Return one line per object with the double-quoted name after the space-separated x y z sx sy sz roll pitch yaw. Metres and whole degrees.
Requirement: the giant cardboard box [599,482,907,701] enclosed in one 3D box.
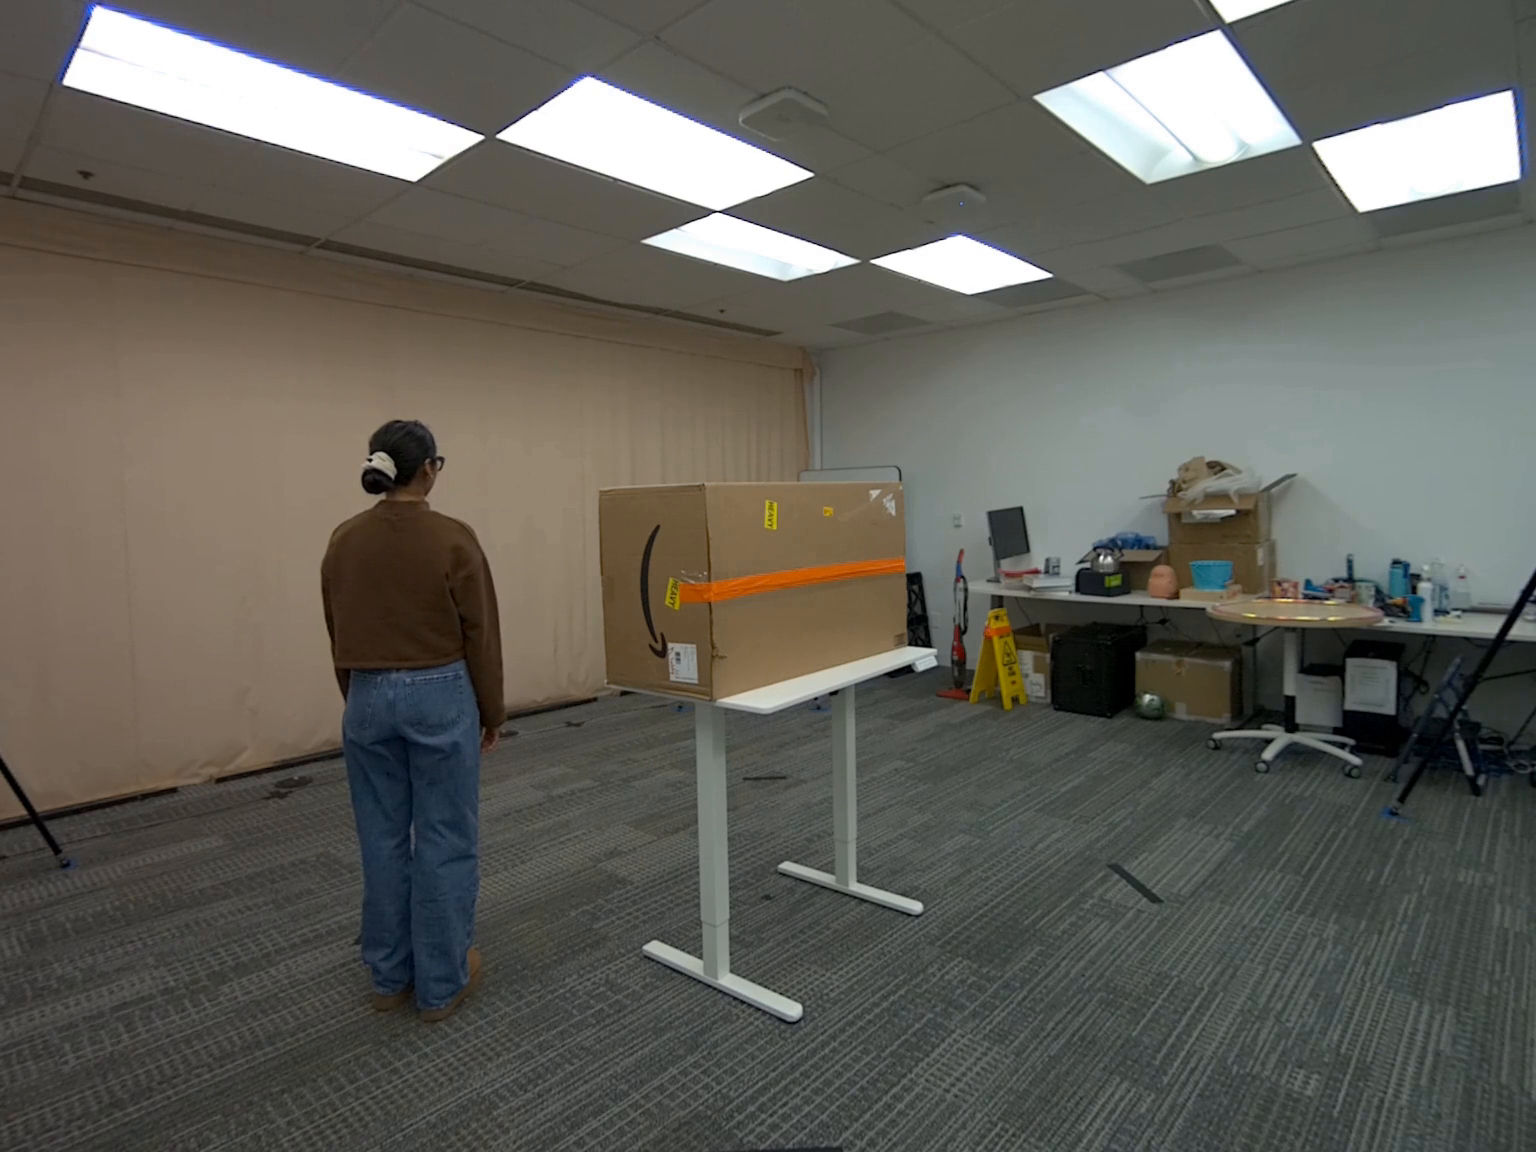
0.000 0.000 2.697 0.440 0.576 0.995 0 5 40 "giant cardboard box"
